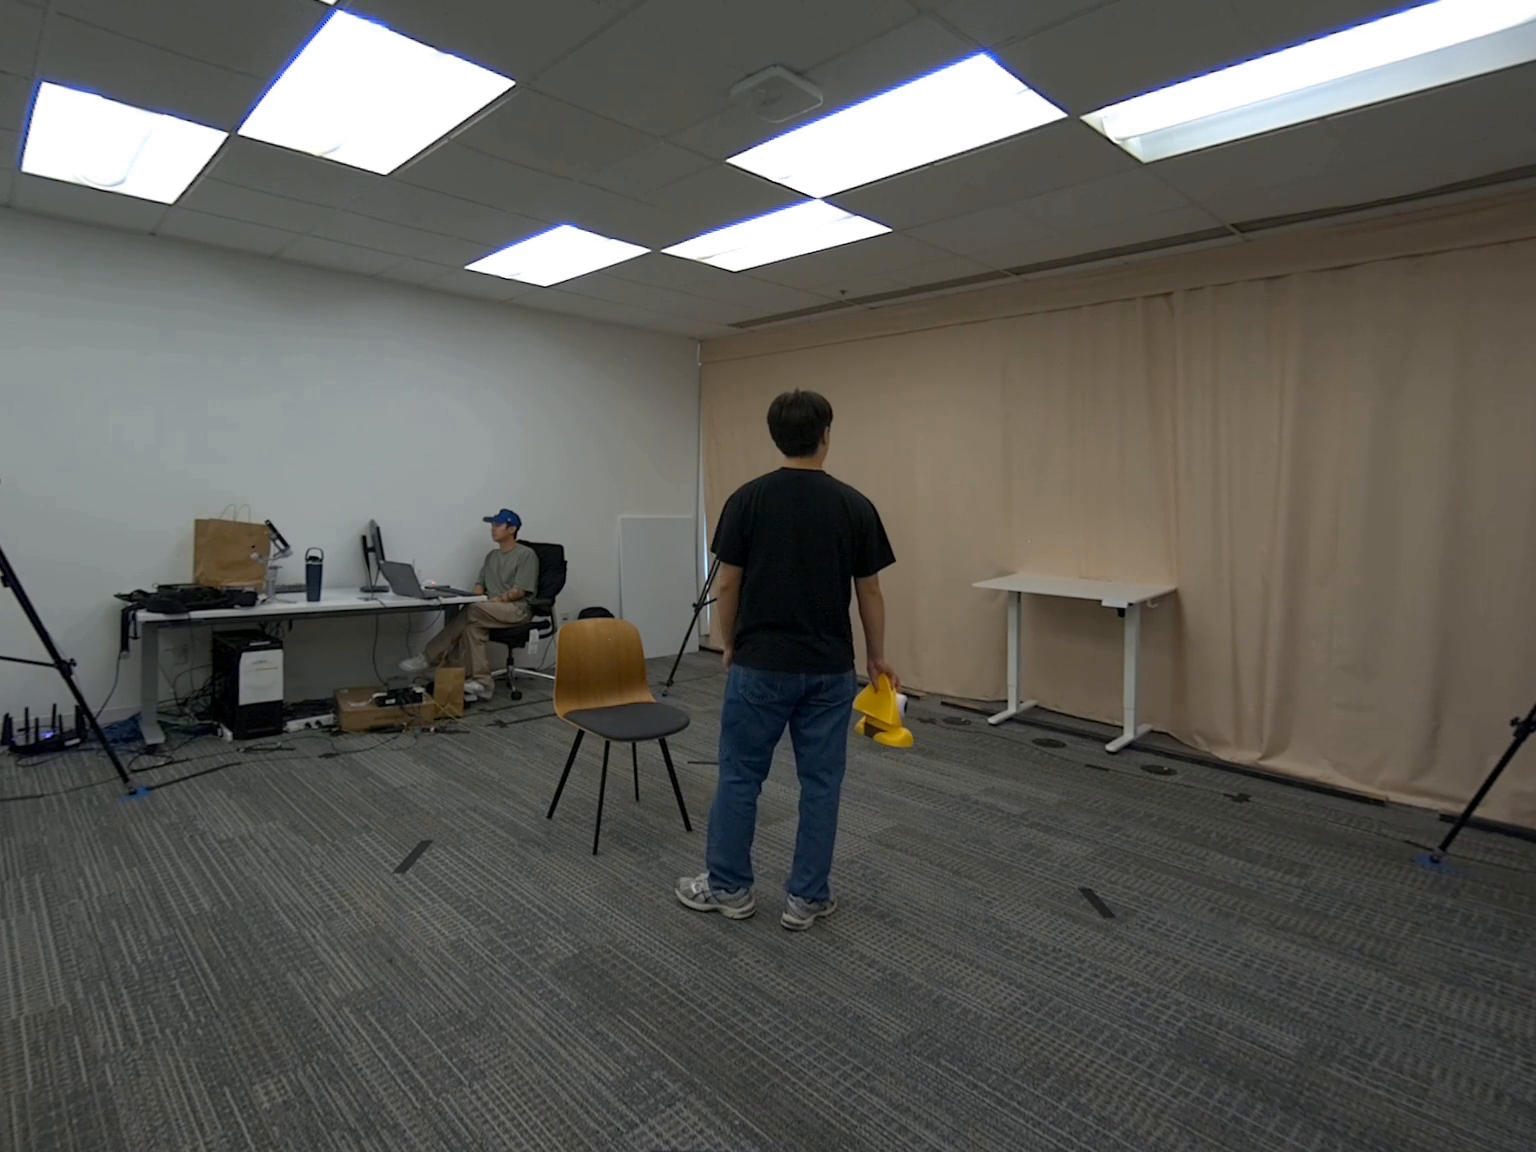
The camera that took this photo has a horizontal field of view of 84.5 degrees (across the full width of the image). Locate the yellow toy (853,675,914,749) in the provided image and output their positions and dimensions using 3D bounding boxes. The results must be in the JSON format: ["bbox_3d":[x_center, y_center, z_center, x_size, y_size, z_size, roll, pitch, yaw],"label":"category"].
[{"bbox_3d":[0.413,0.449,2.931,0.188,0.230,0.210,8,4,-39],"label":"yellow toy"}]
